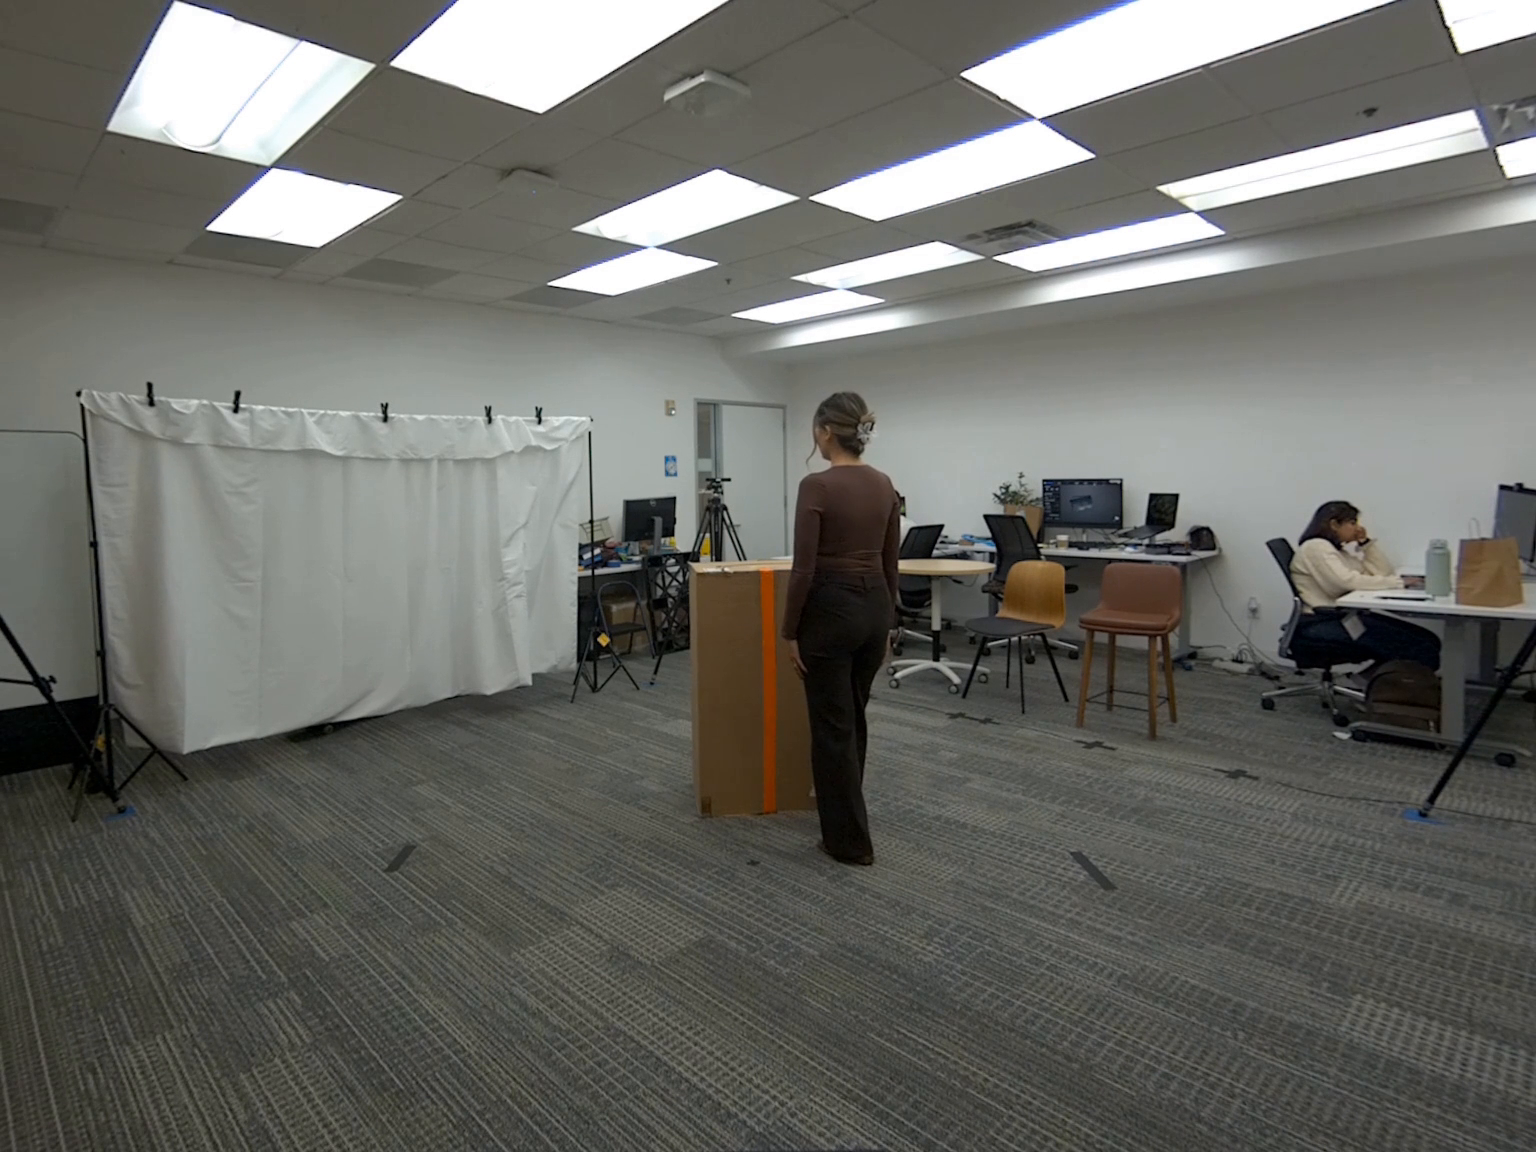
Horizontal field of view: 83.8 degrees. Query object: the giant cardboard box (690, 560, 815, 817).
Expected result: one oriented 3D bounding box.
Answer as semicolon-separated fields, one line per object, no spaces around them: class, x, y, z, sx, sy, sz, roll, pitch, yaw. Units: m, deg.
giant cardboard box;-0.035;0.456;3.741;0.580;1.023;0.451;-1;4;-7
